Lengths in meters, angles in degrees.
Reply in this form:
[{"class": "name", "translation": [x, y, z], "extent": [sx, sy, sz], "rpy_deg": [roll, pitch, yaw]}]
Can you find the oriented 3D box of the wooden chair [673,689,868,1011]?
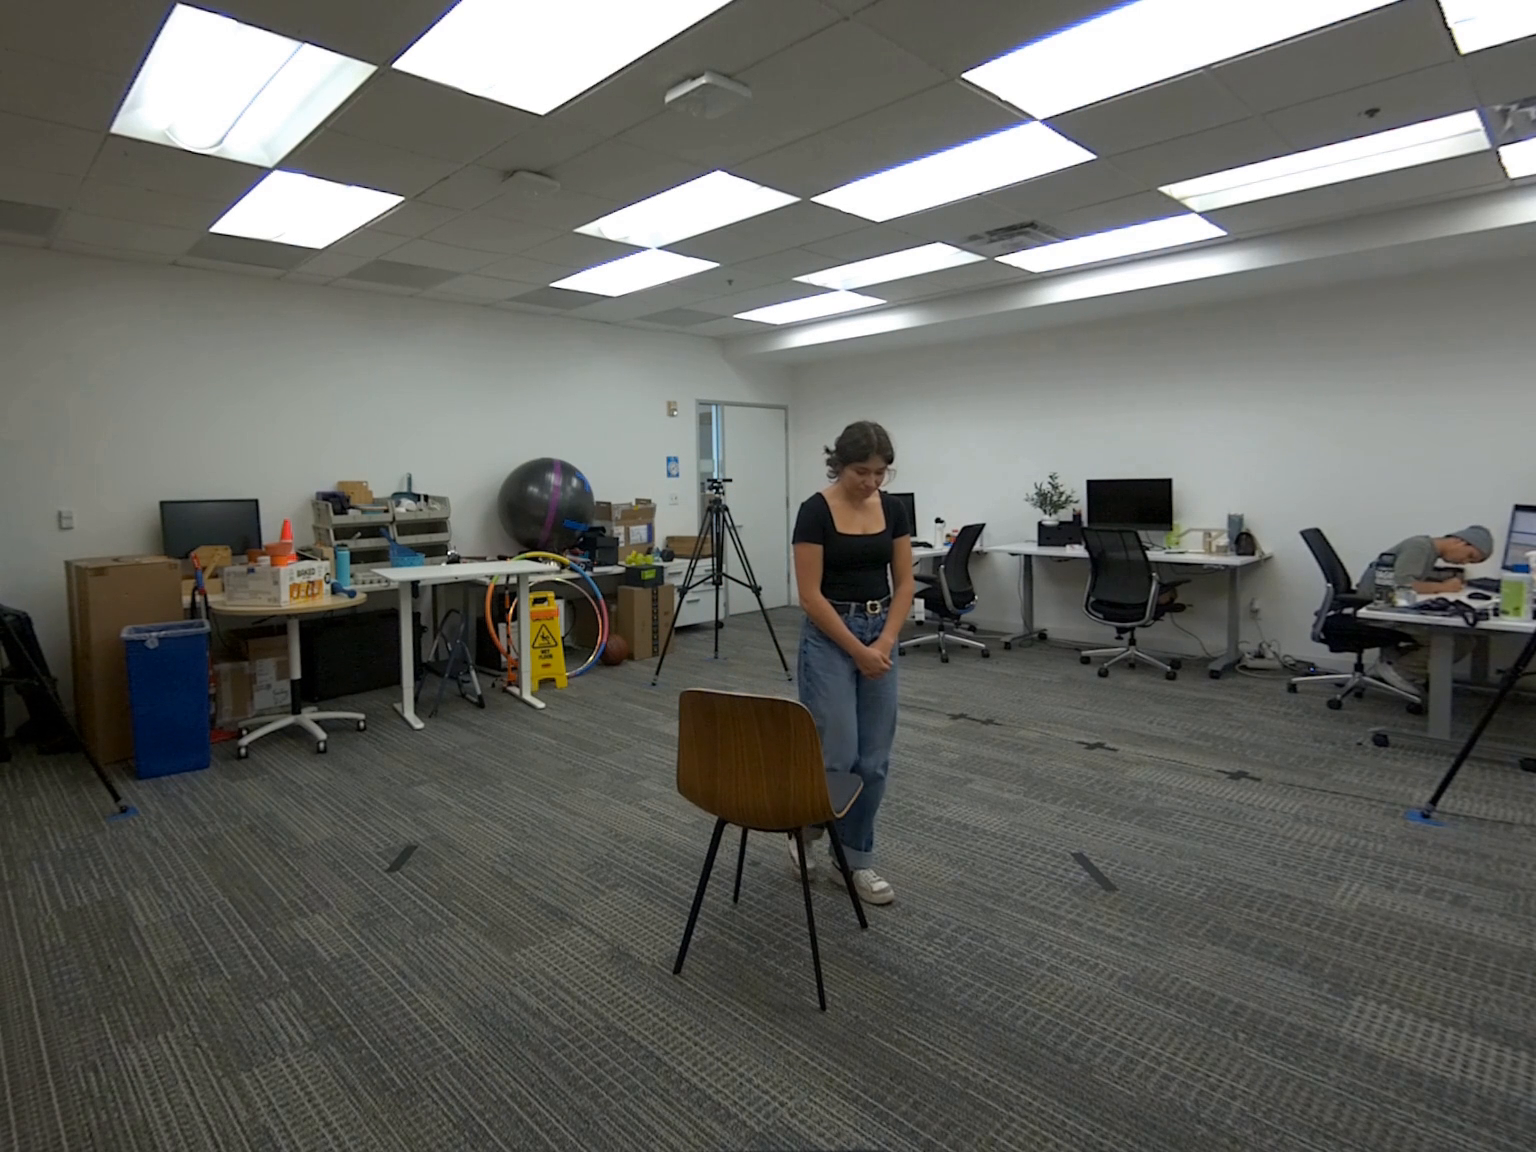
[{"class": "wooden chair", "translation": [0.017, 0.689, 2.507], "extent": [0.488, 0.870, 0.516], "rpy_deg": [1, 9, 23]}]
